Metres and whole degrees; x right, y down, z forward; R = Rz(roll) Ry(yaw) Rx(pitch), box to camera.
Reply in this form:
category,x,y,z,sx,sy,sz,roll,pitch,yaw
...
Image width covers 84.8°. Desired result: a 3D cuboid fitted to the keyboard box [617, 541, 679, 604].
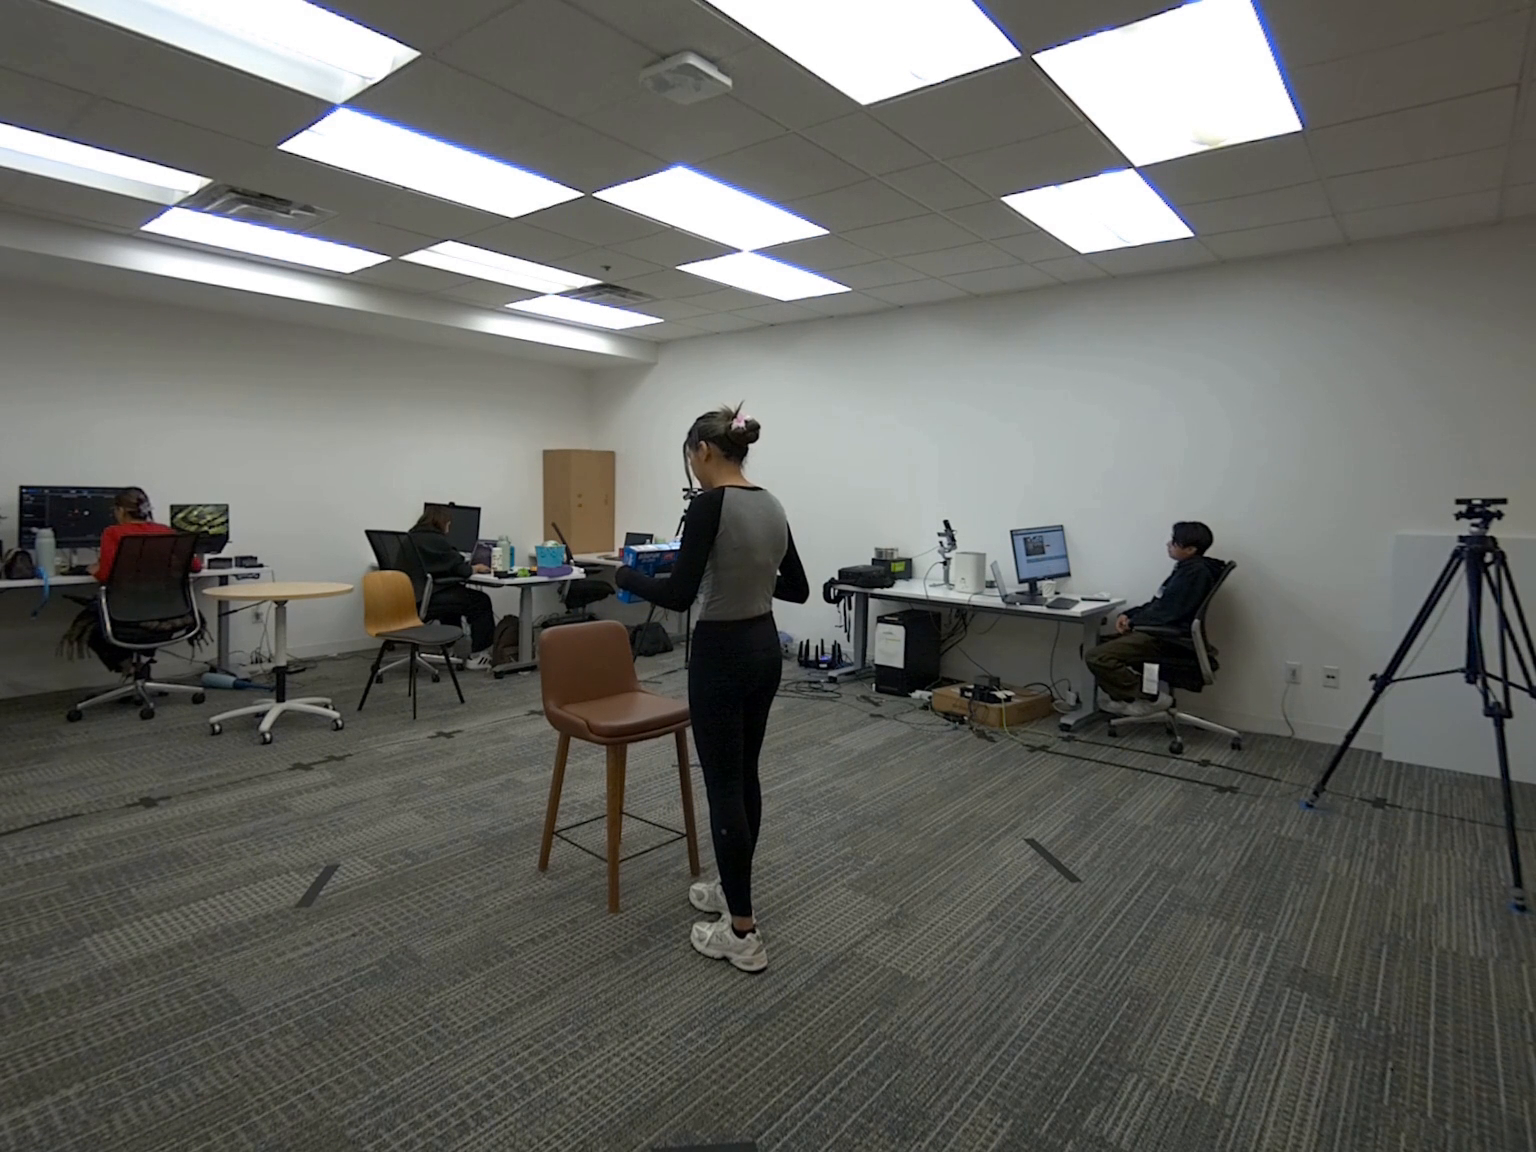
category,x,y,z,sx,sy,sz,roll,pitch,yaw
keyboard box,-0.313,-0.020,2.799,0.061,0.174,0.424,20,18,38
